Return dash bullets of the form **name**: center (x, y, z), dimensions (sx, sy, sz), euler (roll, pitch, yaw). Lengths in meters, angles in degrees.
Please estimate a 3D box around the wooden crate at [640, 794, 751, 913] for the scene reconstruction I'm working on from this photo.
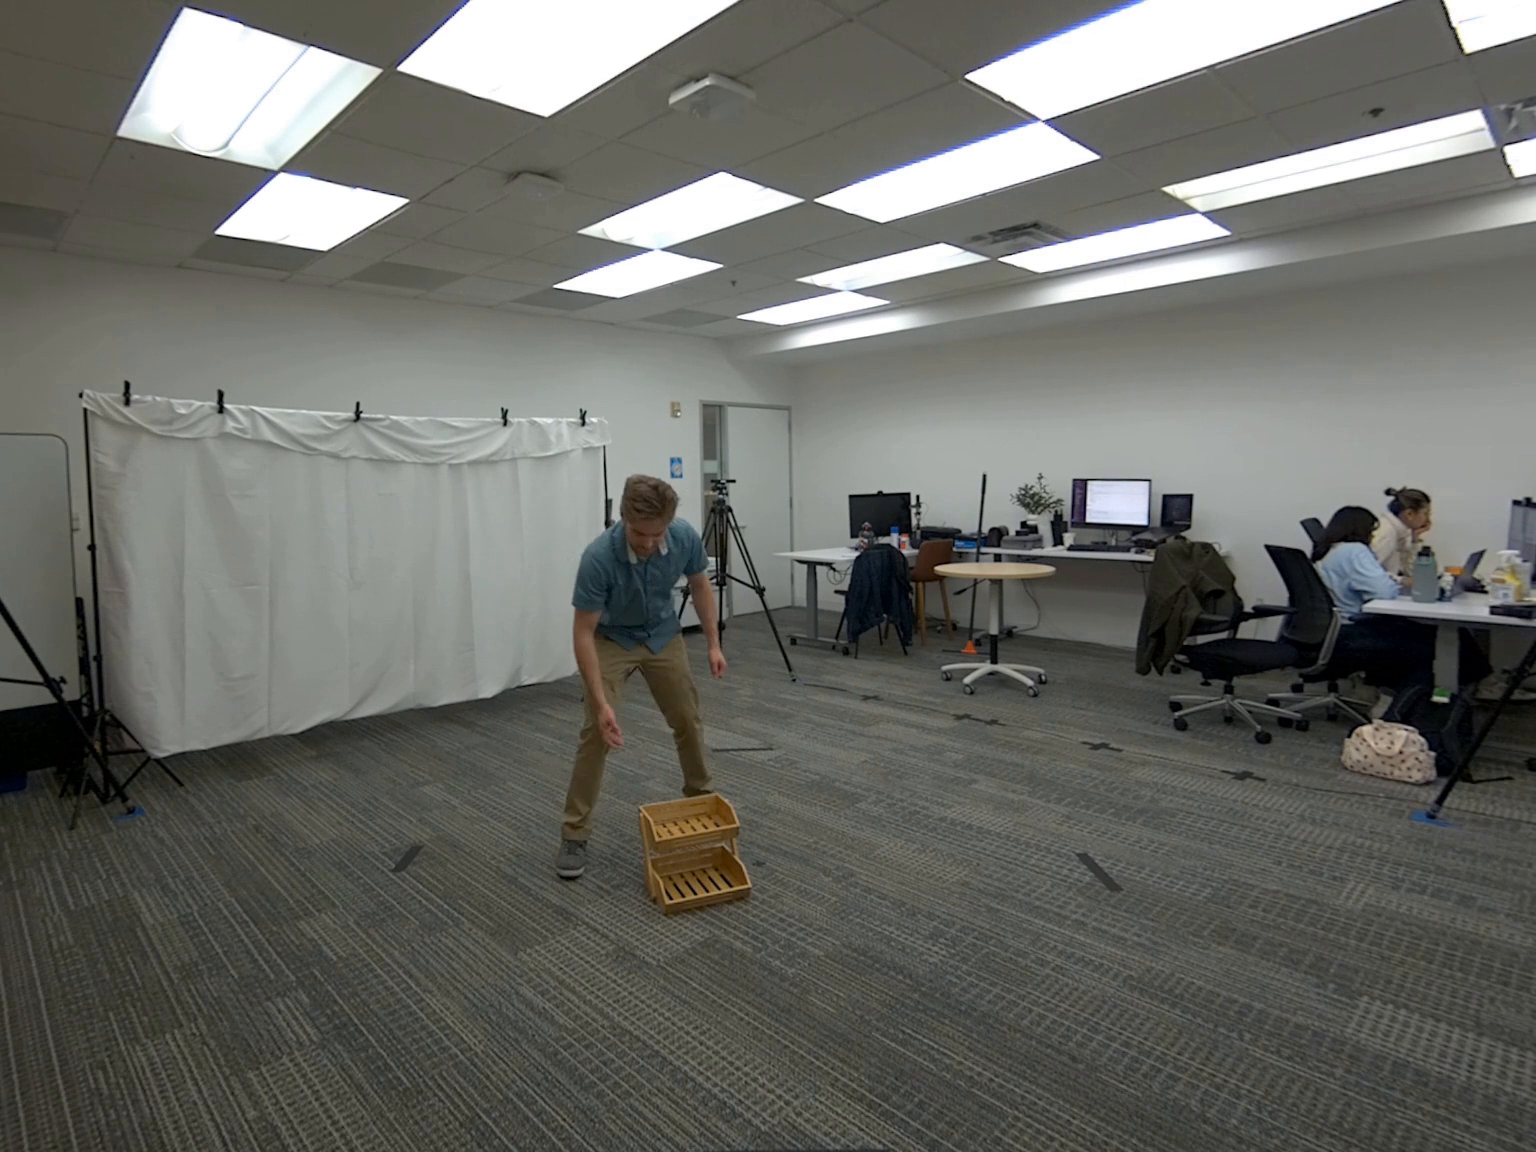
- **wooden crate**: center (-0.251, 0.937, 2.918), dimensions (0.318, 0.272, 0.309), euler (-3, 6, -24)
